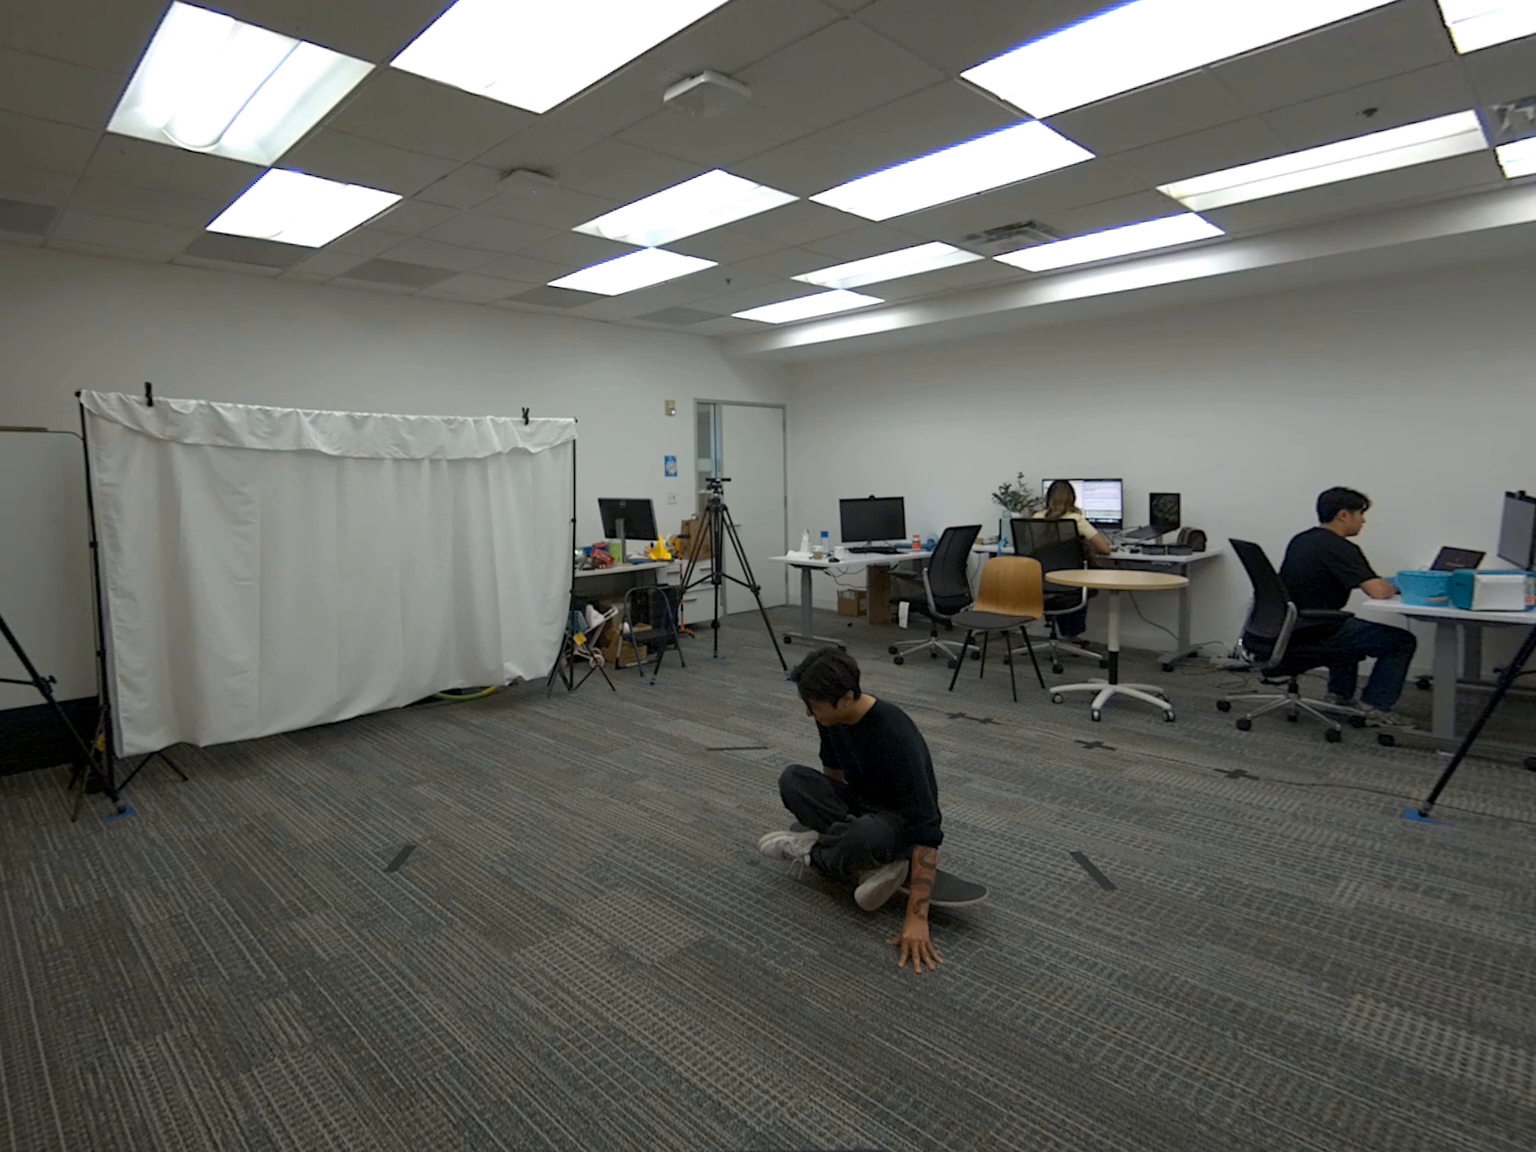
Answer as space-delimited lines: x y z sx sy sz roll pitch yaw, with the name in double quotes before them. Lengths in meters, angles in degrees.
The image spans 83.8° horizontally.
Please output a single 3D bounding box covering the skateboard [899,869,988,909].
"skateboard" 0.379 1.011 2.899 0.188 0.110 0.810 -7 9 -41
